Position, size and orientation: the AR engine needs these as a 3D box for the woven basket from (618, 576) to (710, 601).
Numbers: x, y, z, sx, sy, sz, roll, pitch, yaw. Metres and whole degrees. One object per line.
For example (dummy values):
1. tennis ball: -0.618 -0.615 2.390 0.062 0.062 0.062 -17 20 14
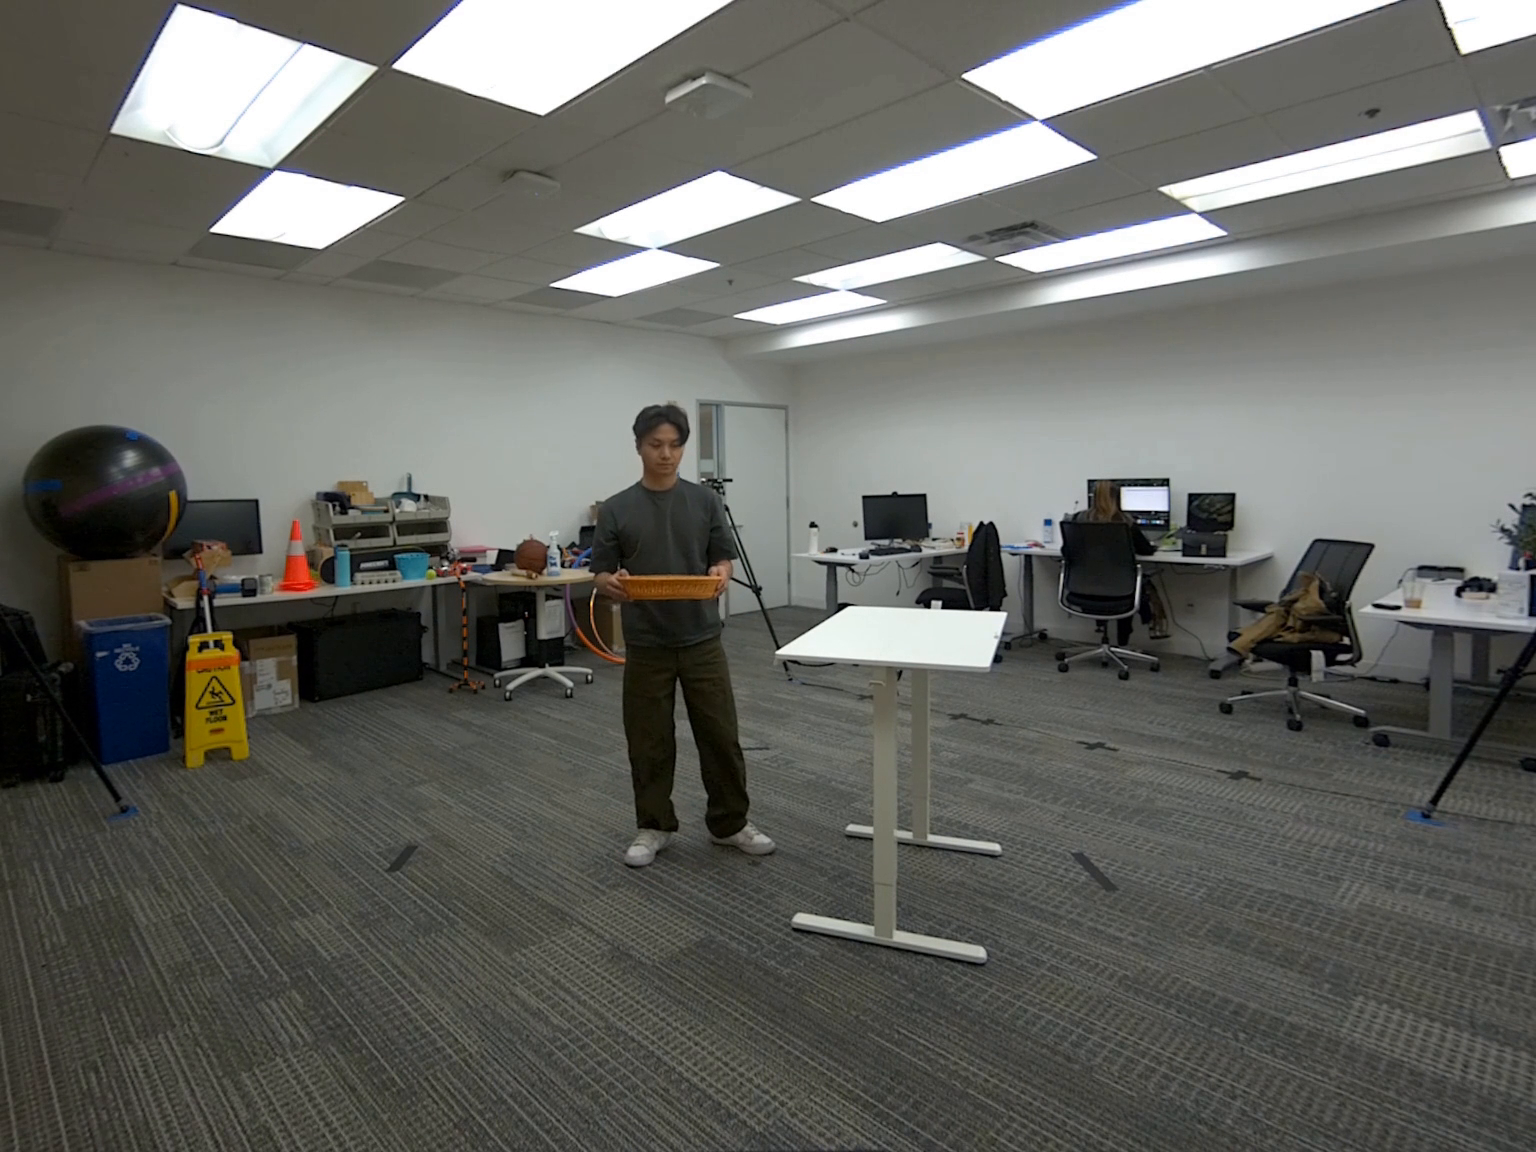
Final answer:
1. woven basket: -0.399 0.046 2.882 0.350 0.073 0.253 0 2 -2
